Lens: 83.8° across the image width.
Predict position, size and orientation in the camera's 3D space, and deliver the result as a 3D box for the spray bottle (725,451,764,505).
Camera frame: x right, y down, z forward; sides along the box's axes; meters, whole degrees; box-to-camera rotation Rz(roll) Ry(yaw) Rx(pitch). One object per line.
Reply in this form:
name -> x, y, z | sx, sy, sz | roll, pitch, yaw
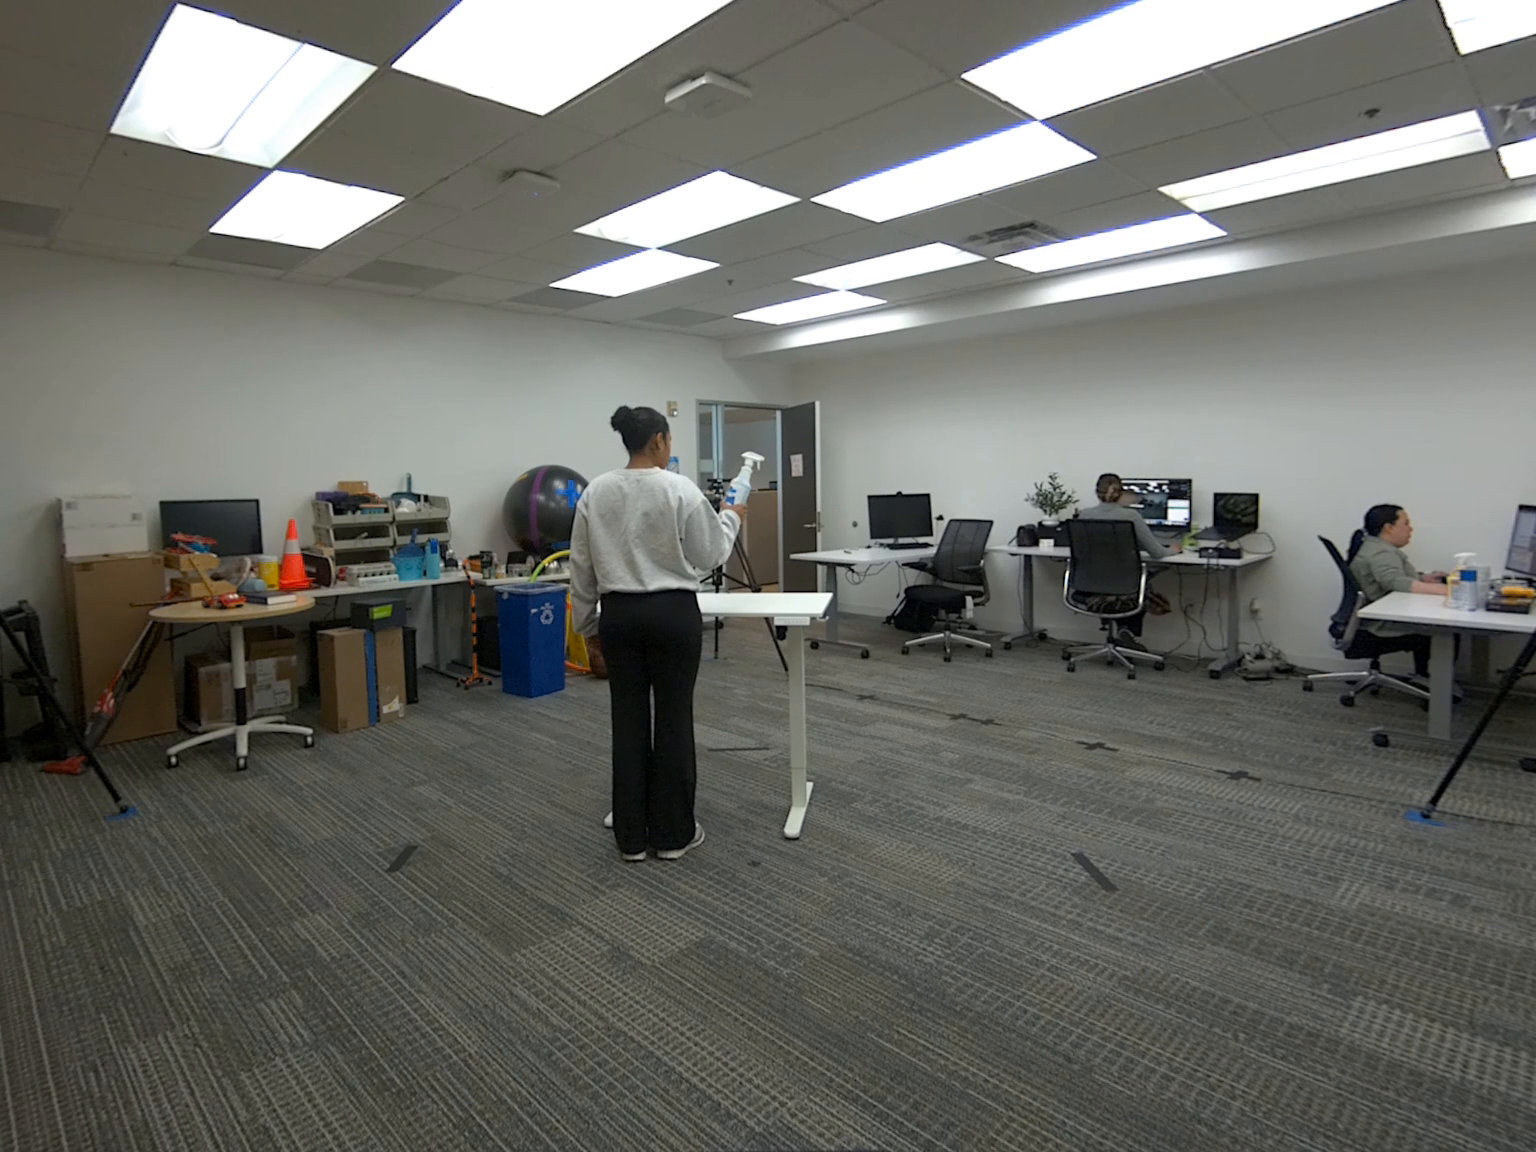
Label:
spray bottle -> -0.111, -0.351, 3.441 | 0.091, 0.298, 0.085 | 18, -7, 10
